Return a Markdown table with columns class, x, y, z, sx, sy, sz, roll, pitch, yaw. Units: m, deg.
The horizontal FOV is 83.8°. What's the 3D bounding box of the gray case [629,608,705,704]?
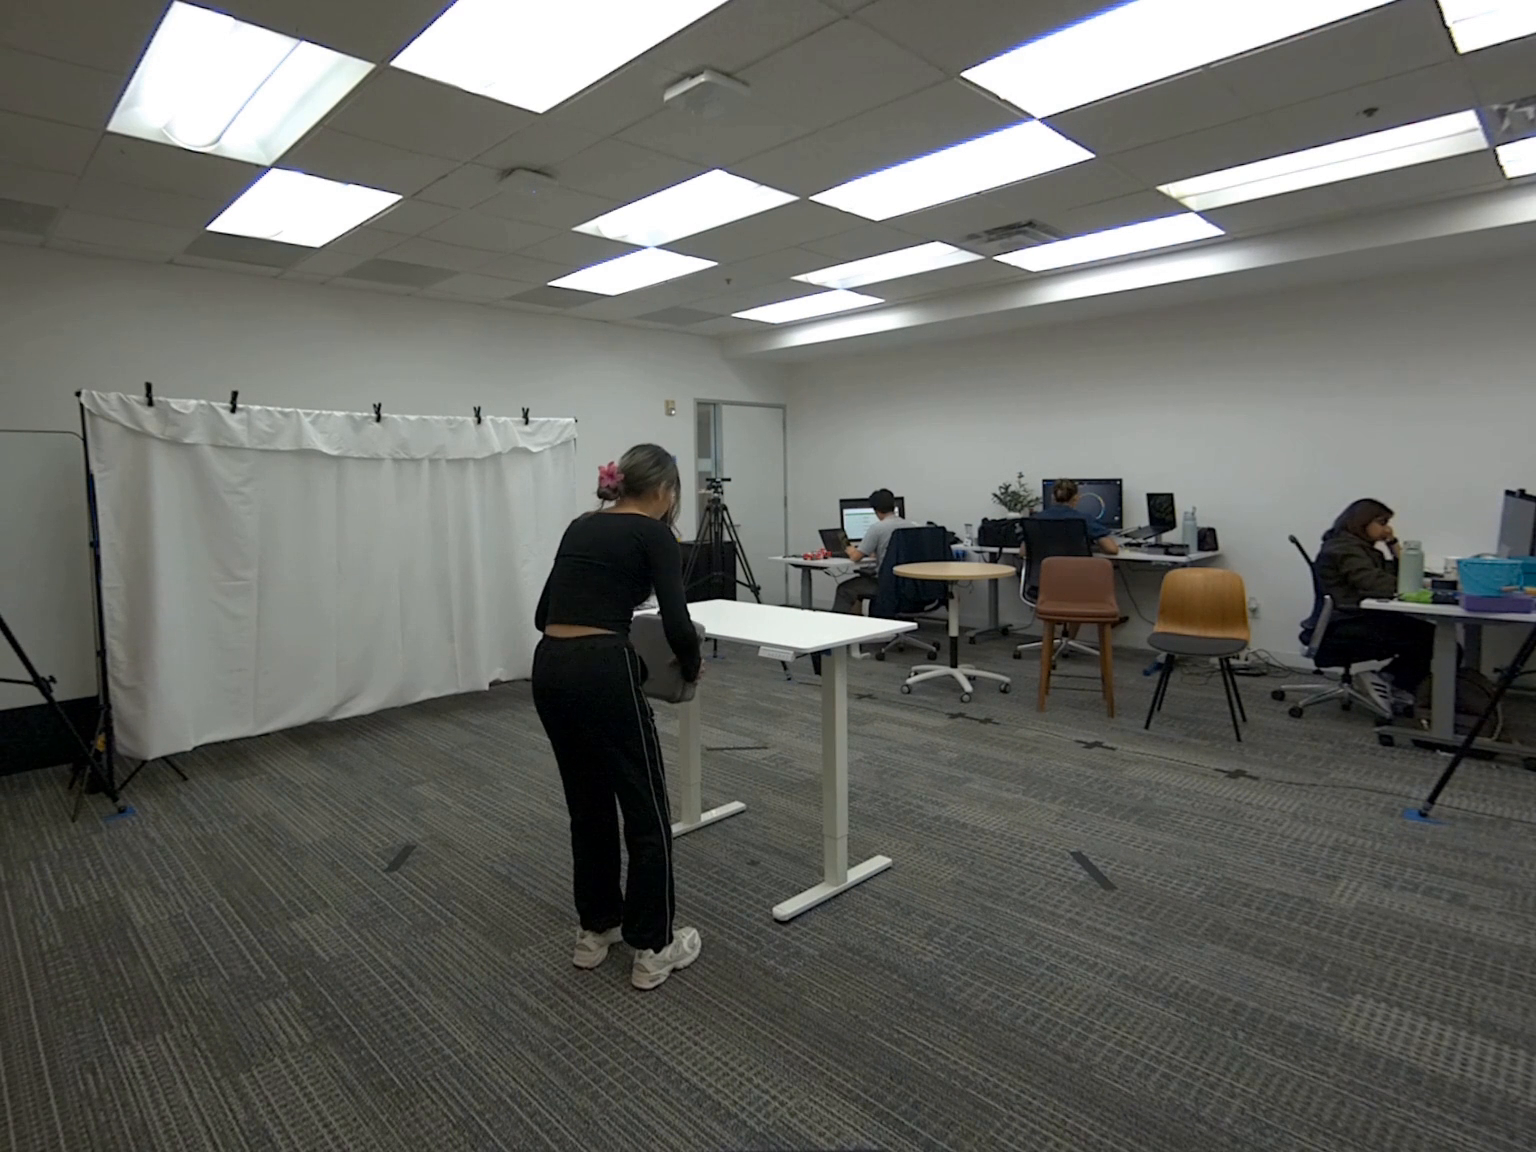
| class | x | y | z | sx | sy | sz | roll | pitch | yaw |
| --- | --- | --- | --- | --- | --- | --- | --- | --- | --- |
| gray case | -0.335 | 0.257 | 2.692 | 0.264 | 0.262 | 0.100 | 4 | -12 | 36 |
